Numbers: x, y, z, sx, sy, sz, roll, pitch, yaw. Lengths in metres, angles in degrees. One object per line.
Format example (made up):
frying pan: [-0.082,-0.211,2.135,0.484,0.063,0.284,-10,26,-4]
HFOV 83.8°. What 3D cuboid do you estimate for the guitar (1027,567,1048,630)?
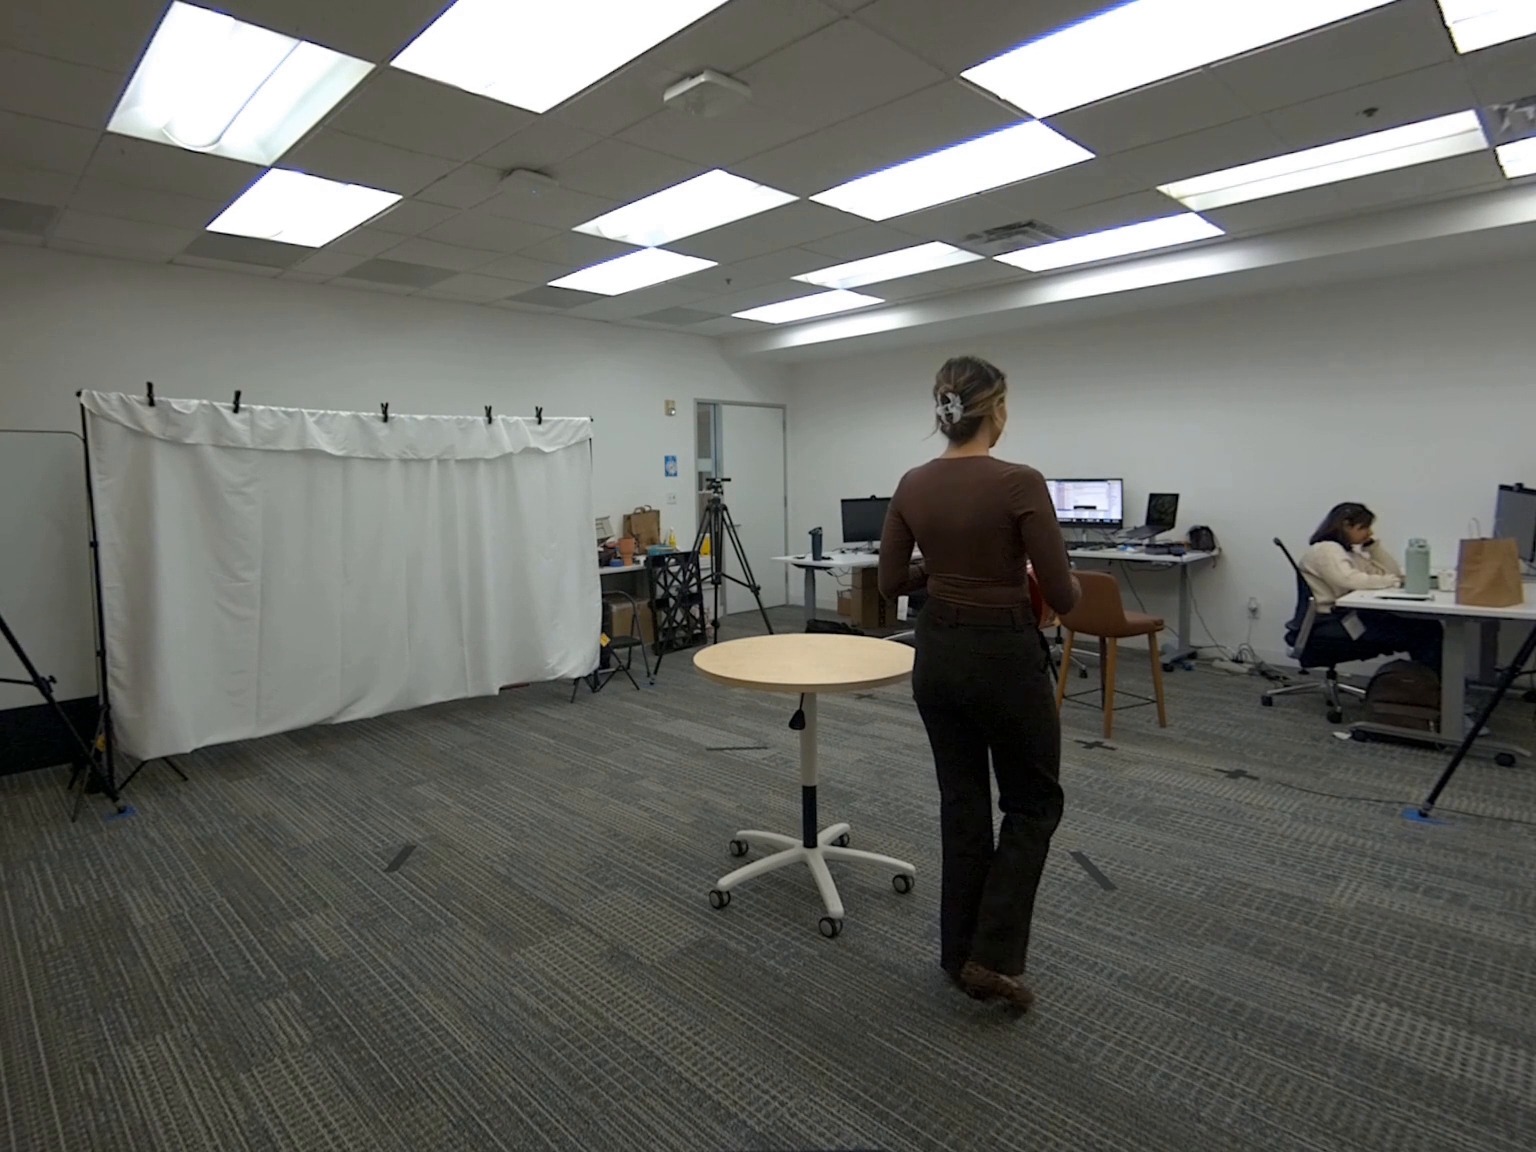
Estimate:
guitar: [0.660,-0.031,2.436,0.070,0.187,0.516,-19,34,-13]
